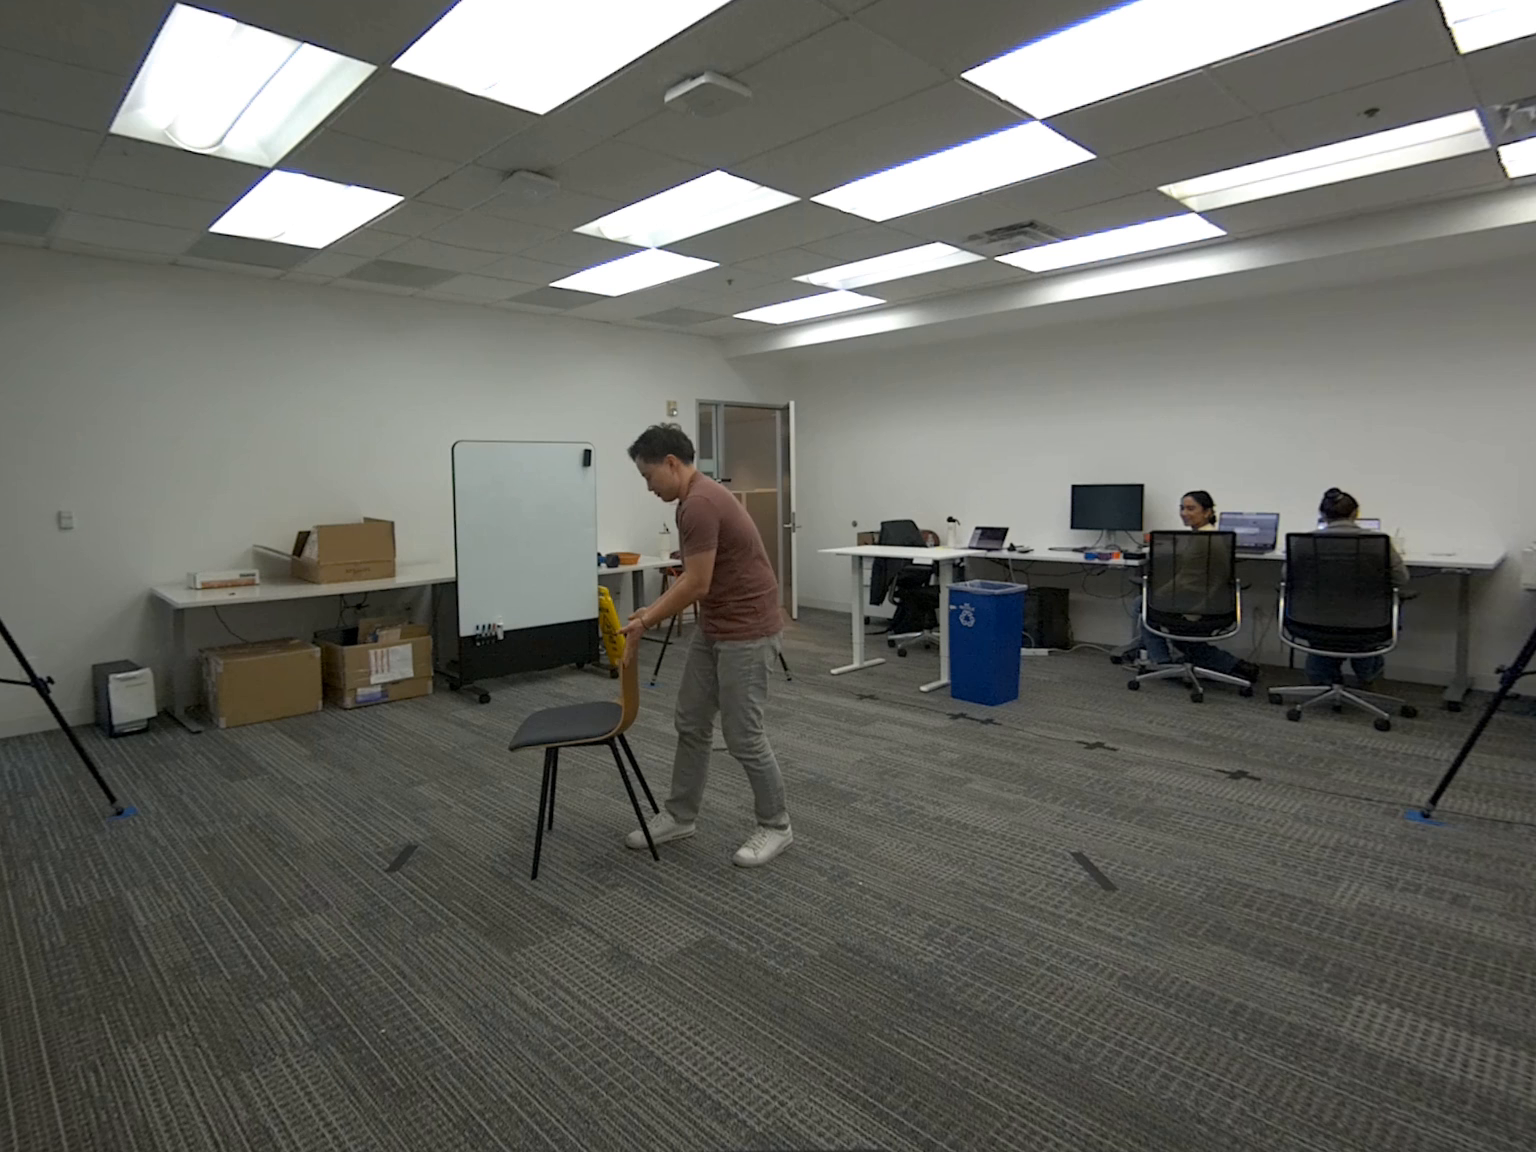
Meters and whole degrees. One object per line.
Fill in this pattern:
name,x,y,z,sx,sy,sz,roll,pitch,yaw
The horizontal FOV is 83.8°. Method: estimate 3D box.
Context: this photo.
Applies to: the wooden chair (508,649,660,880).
wooden chair,-0.696,0.599,3.206,0.521,0.873,0.482,-3,5,-5
